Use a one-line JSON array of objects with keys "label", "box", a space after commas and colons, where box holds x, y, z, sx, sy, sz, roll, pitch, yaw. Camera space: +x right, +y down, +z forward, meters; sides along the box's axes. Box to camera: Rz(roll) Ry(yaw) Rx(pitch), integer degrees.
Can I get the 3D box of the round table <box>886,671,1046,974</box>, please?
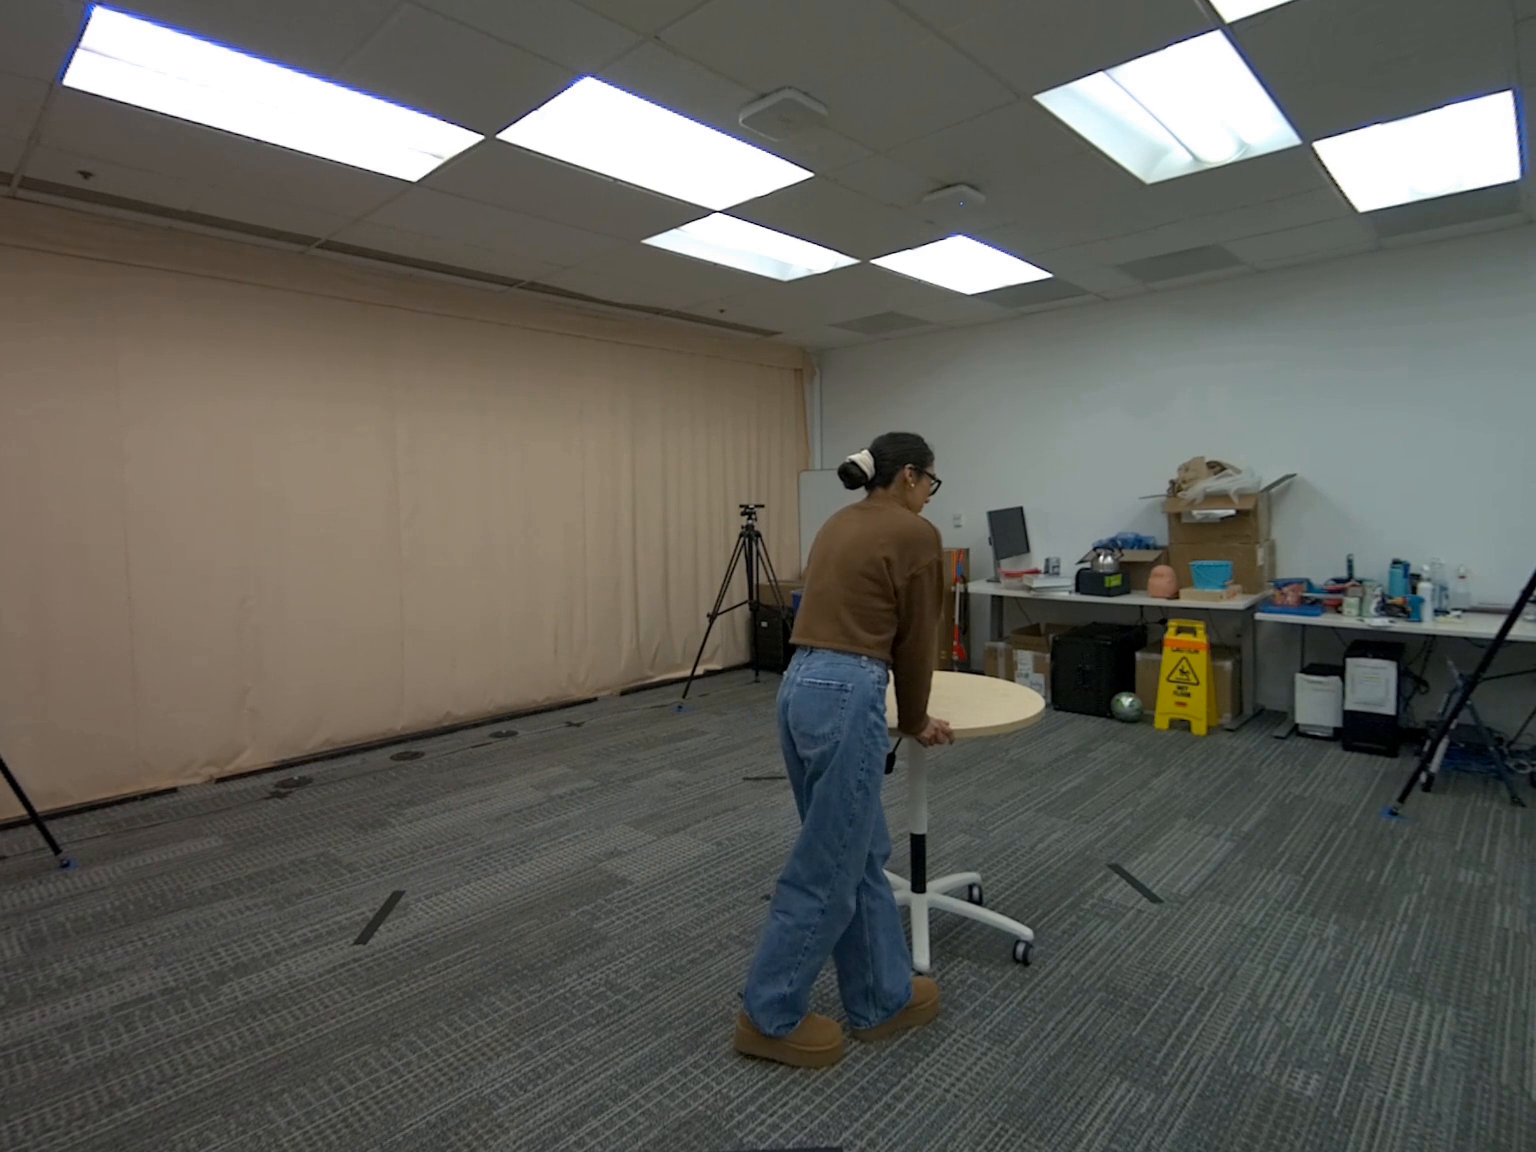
[{"label": "round table", "box": [0.491, 0.772, 2.694, 0.763, 0.792, 0.767, -1, 4, -2]}]
